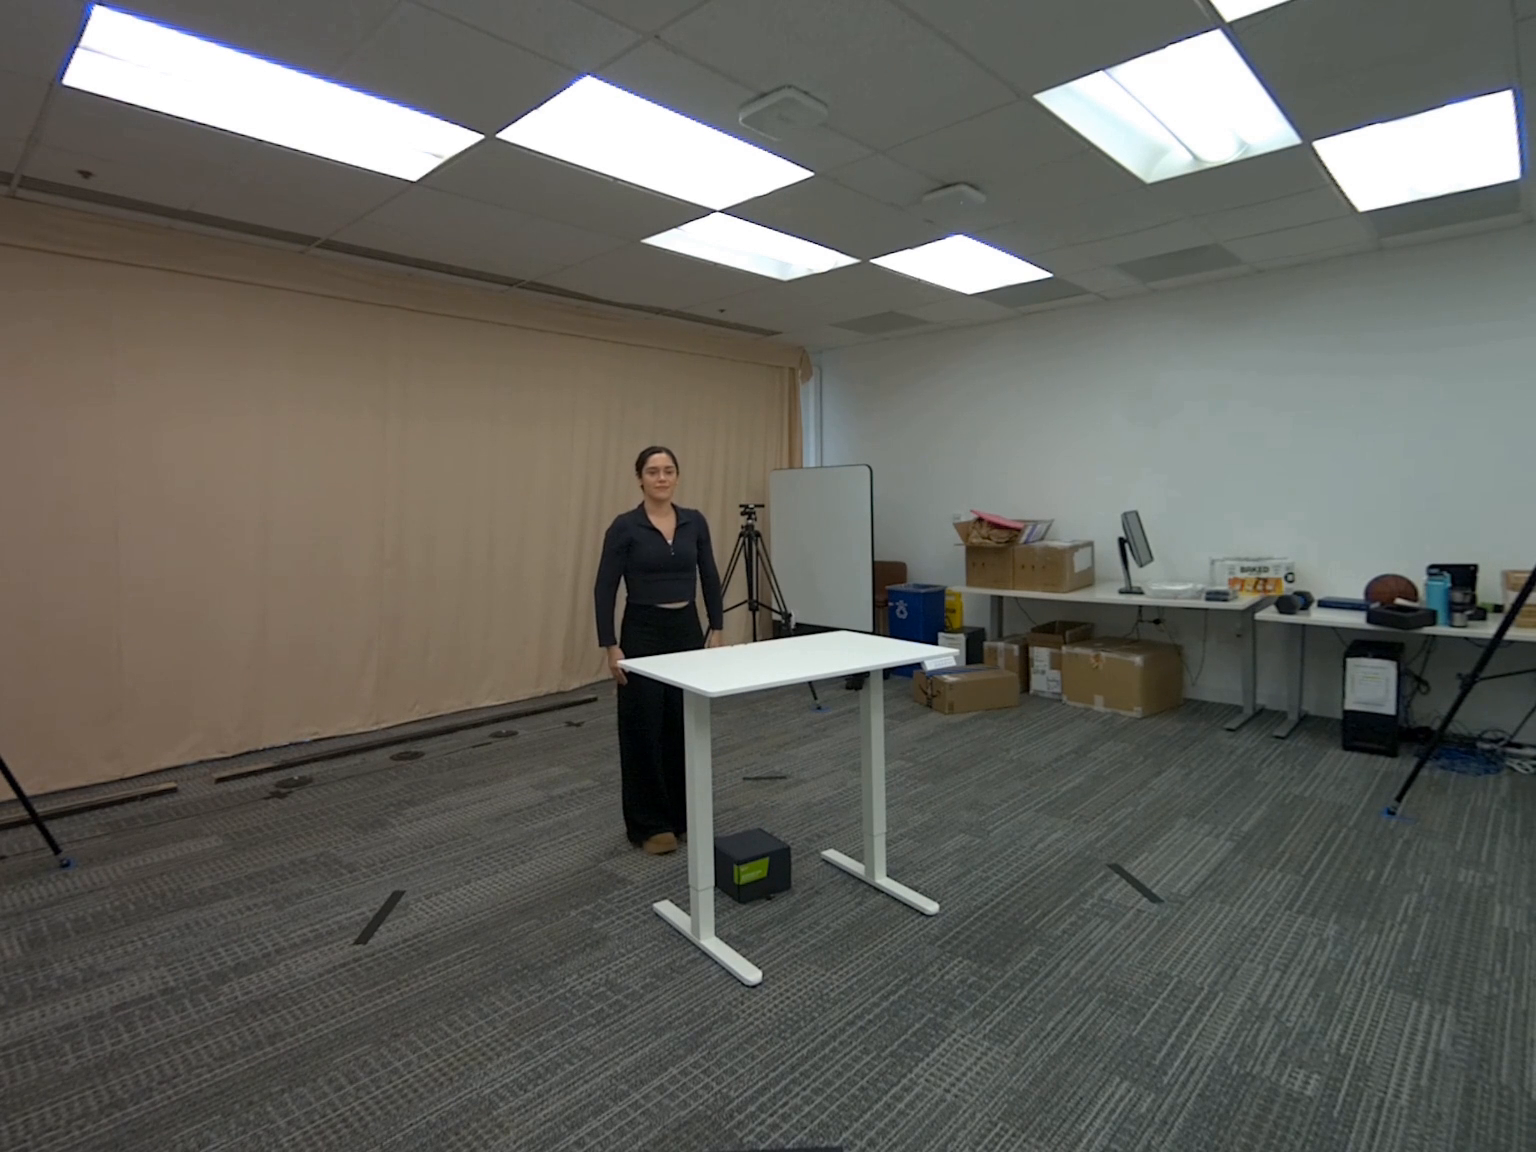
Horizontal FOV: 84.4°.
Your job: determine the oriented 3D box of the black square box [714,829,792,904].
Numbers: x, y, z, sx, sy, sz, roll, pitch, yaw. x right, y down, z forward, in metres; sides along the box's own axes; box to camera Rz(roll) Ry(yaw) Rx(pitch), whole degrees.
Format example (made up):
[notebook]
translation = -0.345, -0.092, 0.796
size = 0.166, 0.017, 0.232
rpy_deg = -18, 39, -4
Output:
[black square box]
translation = -0.064, 1.049, 3.074
size = 0.222, 0.155, 0.223
rpy_deg = -4, 5, -32
